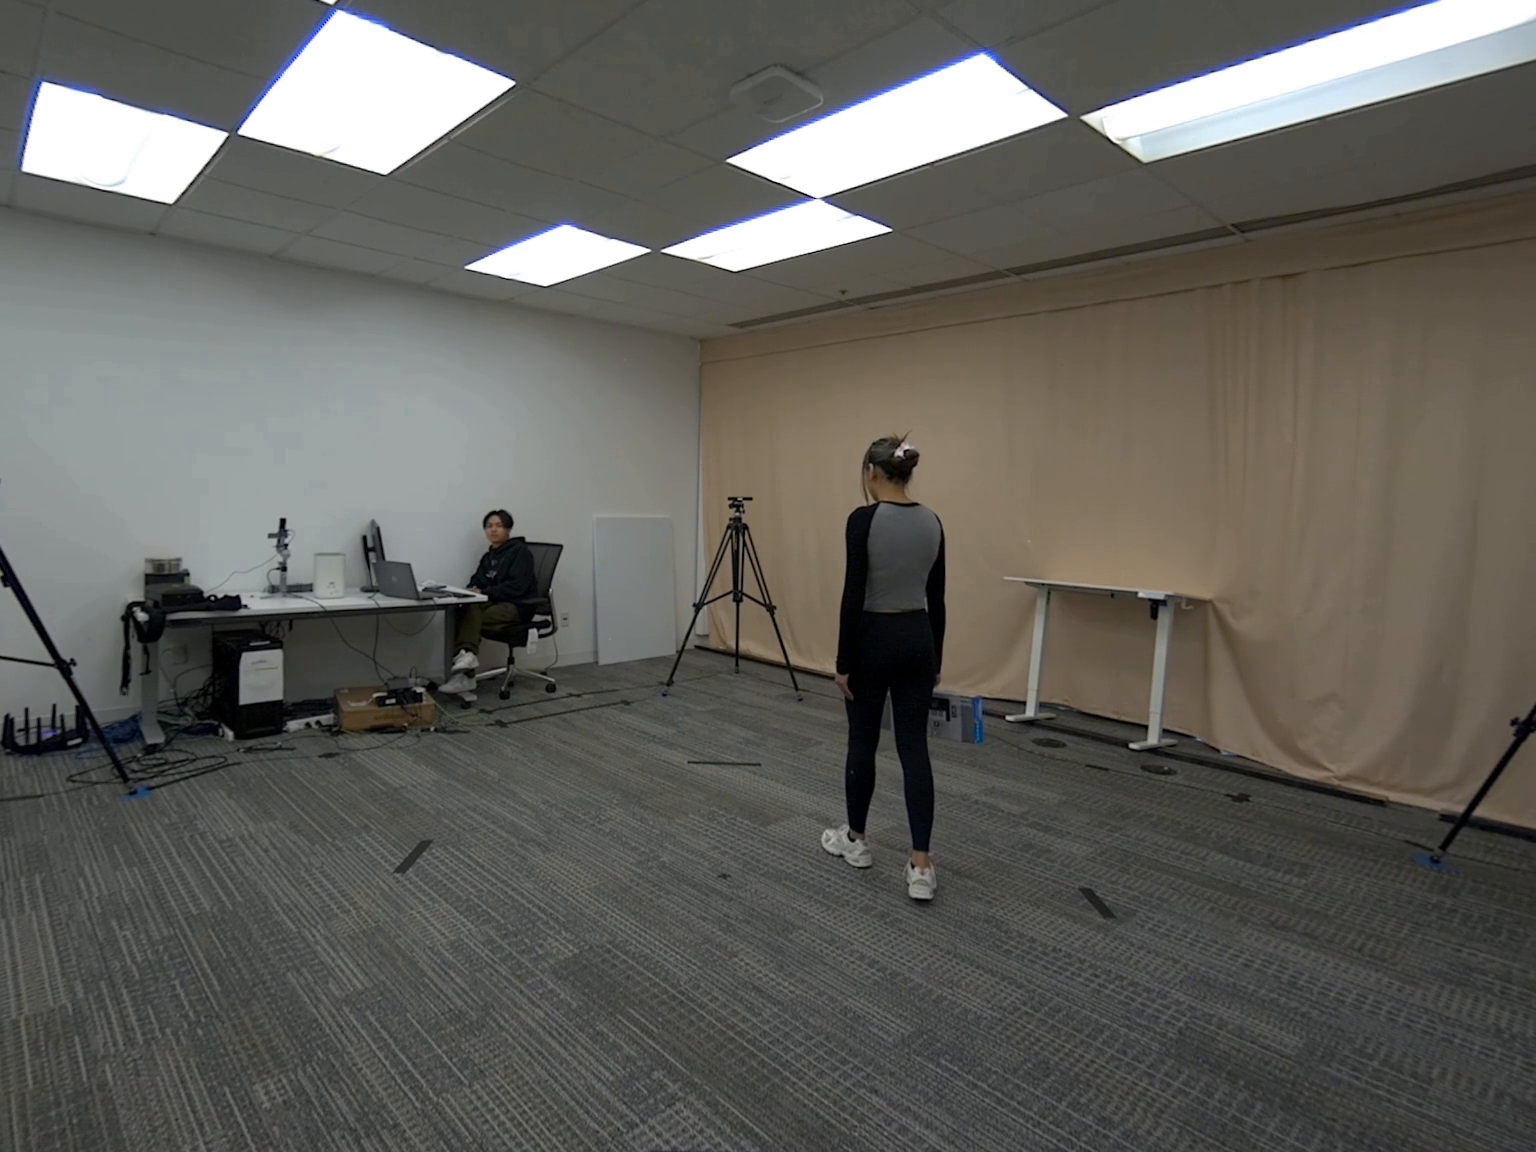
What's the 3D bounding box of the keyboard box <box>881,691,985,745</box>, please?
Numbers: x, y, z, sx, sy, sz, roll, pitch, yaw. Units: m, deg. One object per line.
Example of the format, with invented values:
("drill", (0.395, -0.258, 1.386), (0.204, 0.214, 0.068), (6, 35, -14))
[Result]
("keyboard box", (0.618, 0.536, 3.270), (0.058, 0.176, 0.447), (0, 0, -44))
